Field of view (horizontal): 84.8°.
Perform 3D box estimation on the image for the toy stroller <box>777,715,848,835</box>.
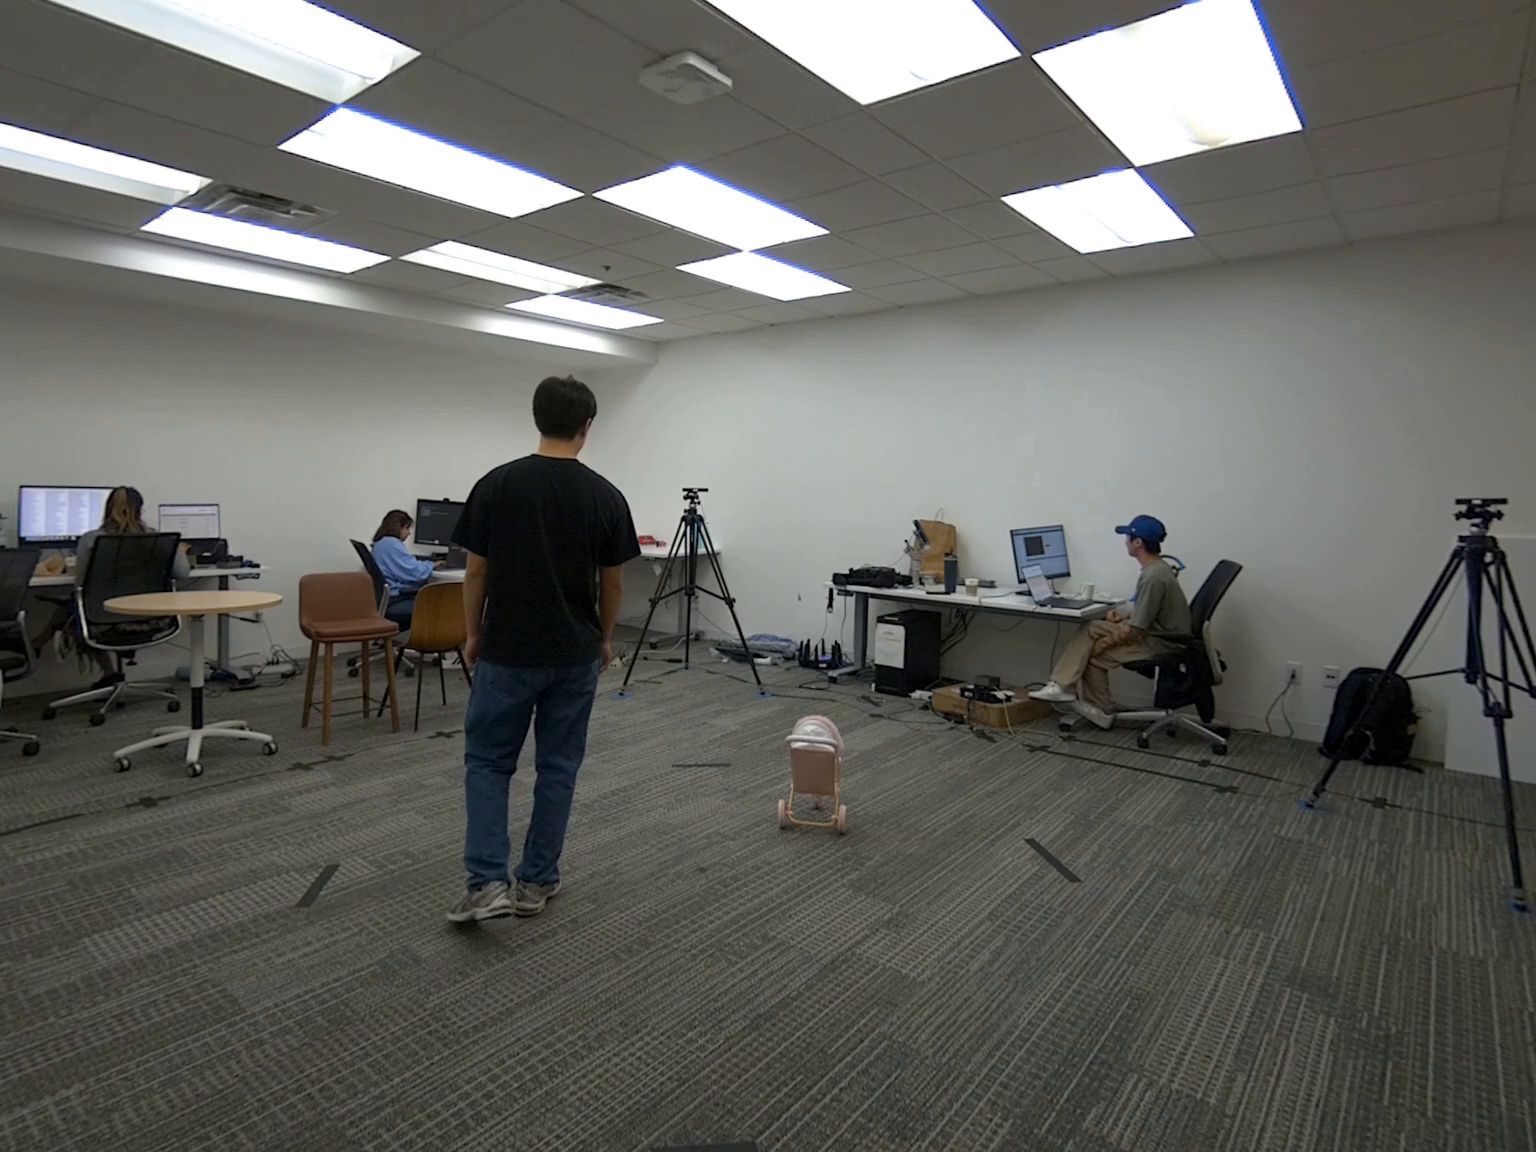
[{"bbox_3d":[0.190,0.812,3.553,0.286,0.525,0.342,3,20,13],"label":"toy stroller"}]
